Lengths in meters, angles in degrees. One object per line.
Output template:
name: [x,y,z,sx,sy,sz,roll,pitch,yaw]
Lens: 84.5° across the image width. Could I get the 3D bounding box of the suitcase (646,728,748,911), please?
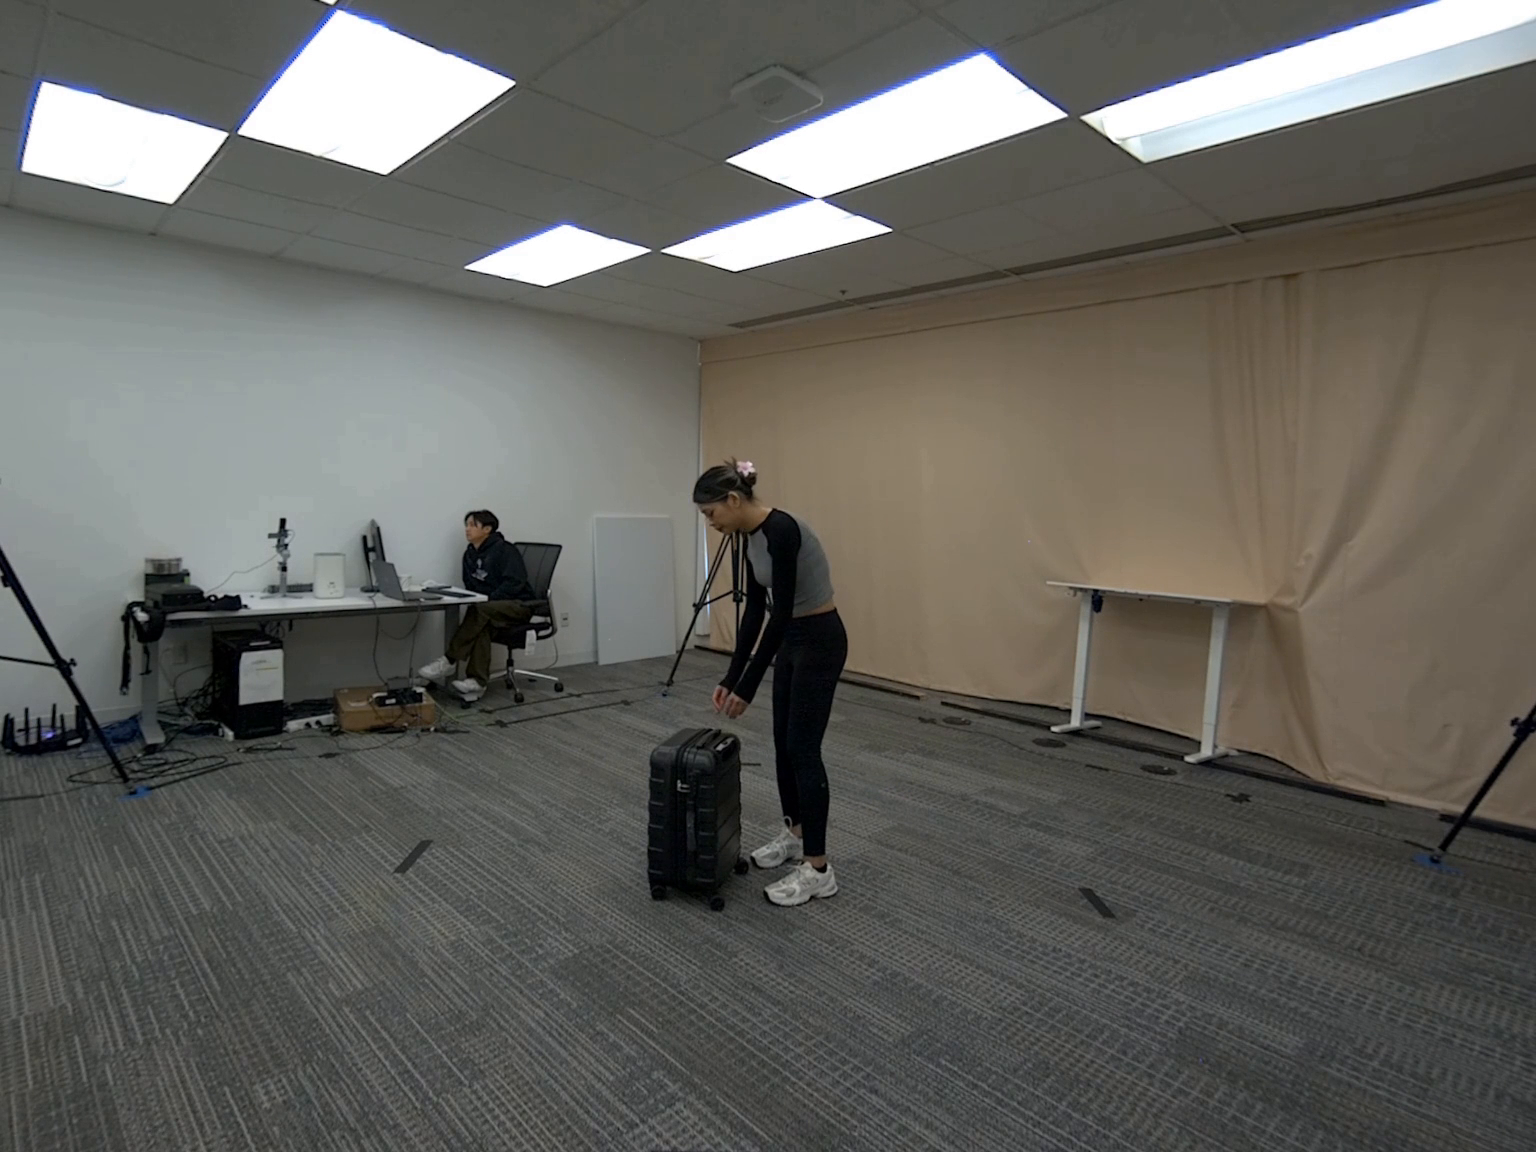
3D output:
suitcase: [-0.261,0.837,3.004,0.252,0.548,0.371,1,4,18]
